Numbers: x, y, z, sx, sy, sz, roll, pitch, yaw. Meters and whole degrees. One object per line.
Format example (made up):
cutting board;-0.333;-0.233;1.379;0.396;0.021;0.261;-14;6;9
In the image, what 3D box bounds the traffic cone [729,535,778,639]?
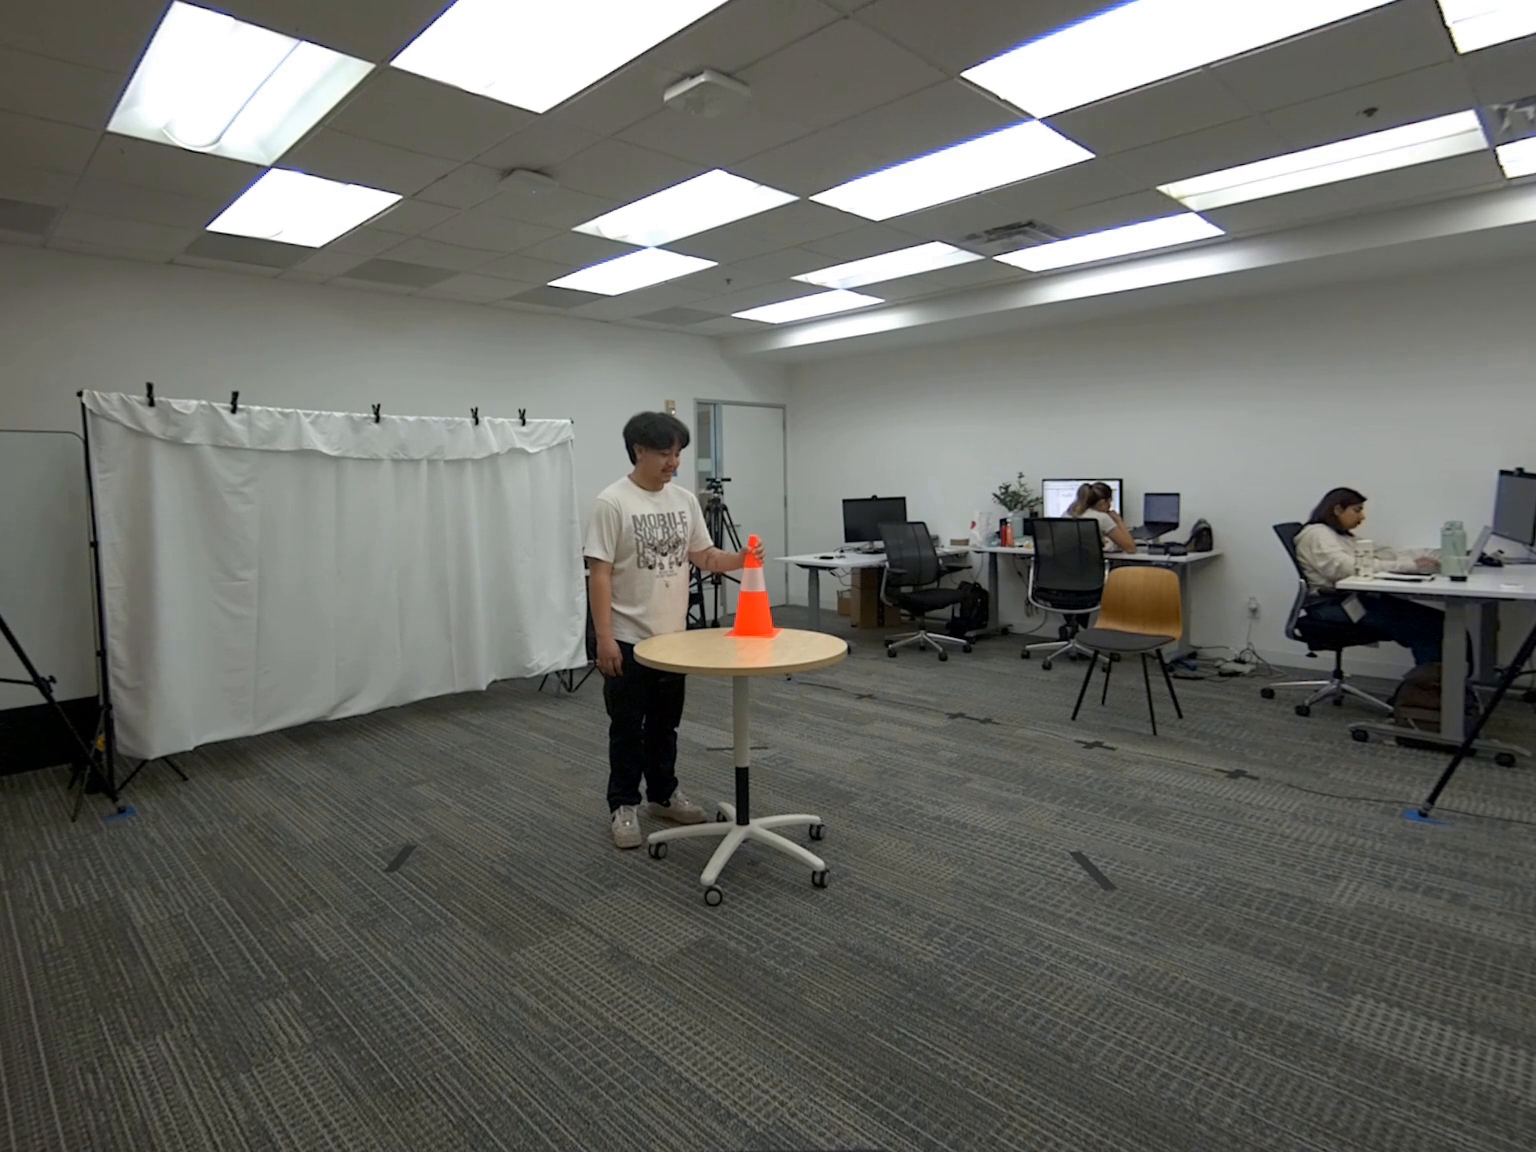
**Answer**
traffic cone;-0.066;0.036;3.315;0.206;0.382;0.203;-1;4;13
